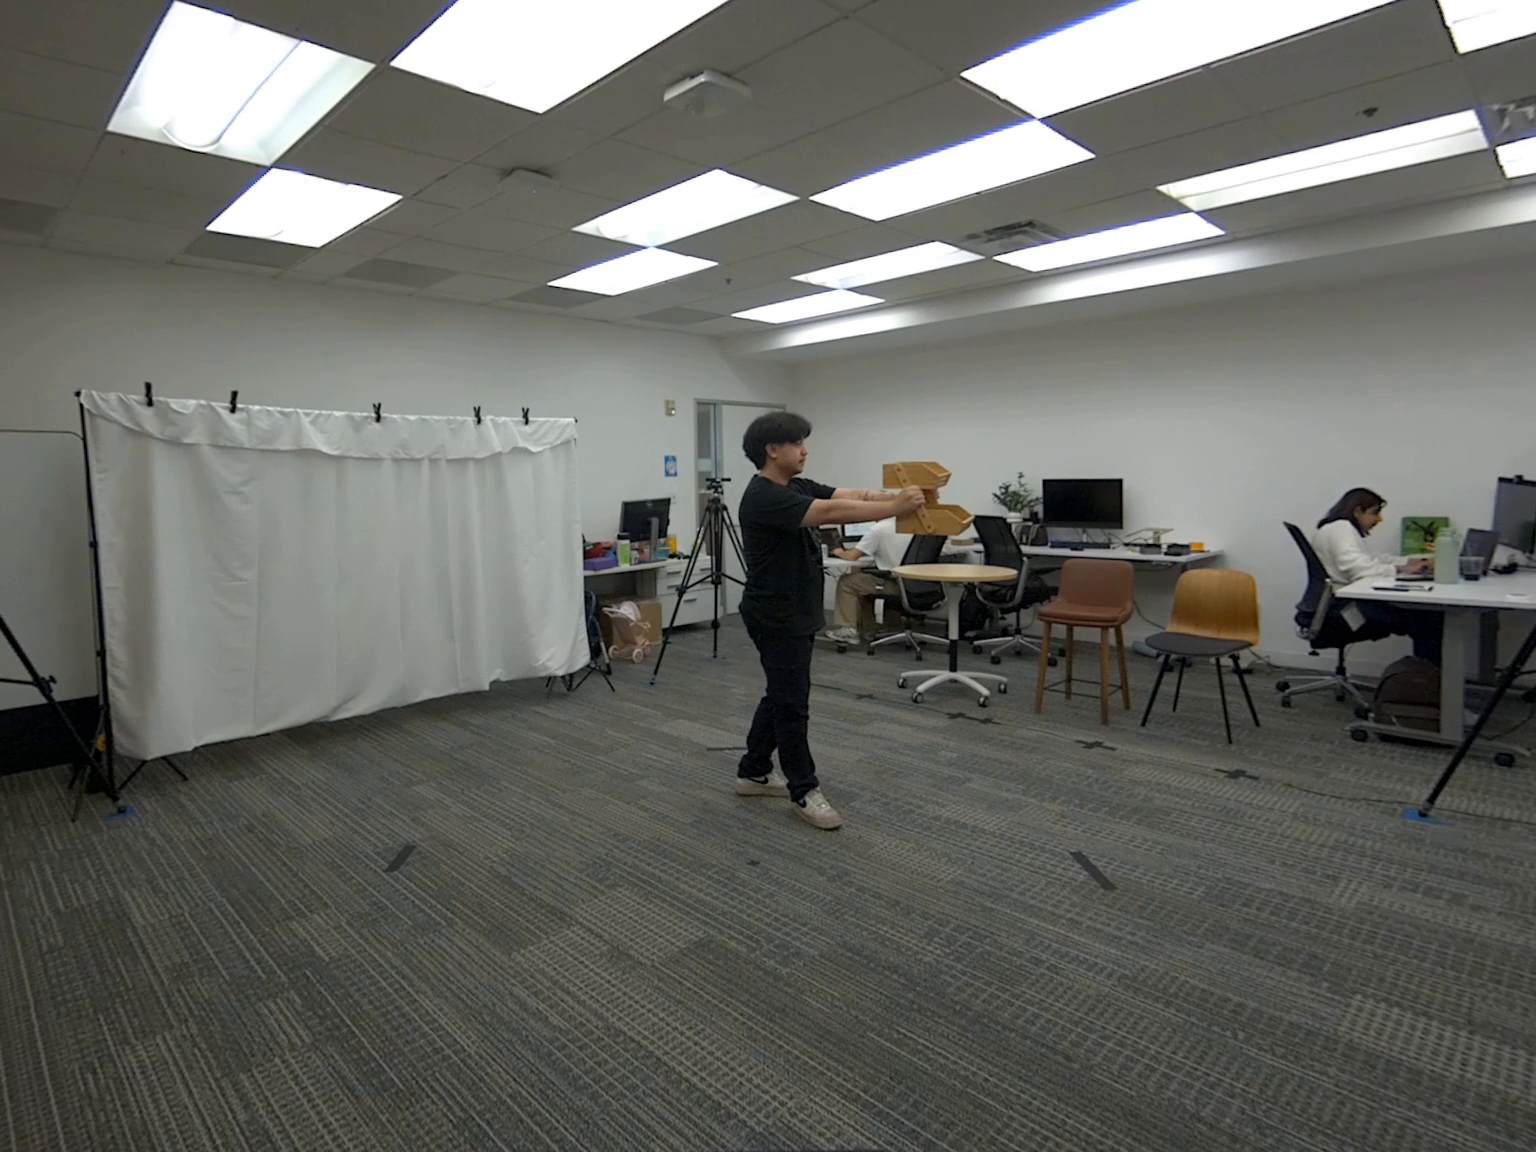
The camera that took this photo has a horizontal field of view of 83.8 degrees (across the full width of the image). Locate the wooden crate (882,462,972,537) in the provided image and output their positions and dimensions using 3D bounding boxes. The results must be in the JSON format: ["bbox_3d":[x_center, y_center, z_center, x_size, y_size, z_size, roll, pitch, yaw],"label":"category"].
[{"bbox_3d":[0.634,-0.317,3.286,0.308,0.272,0.320,1,8,22],"label":"wooden crate"}]
